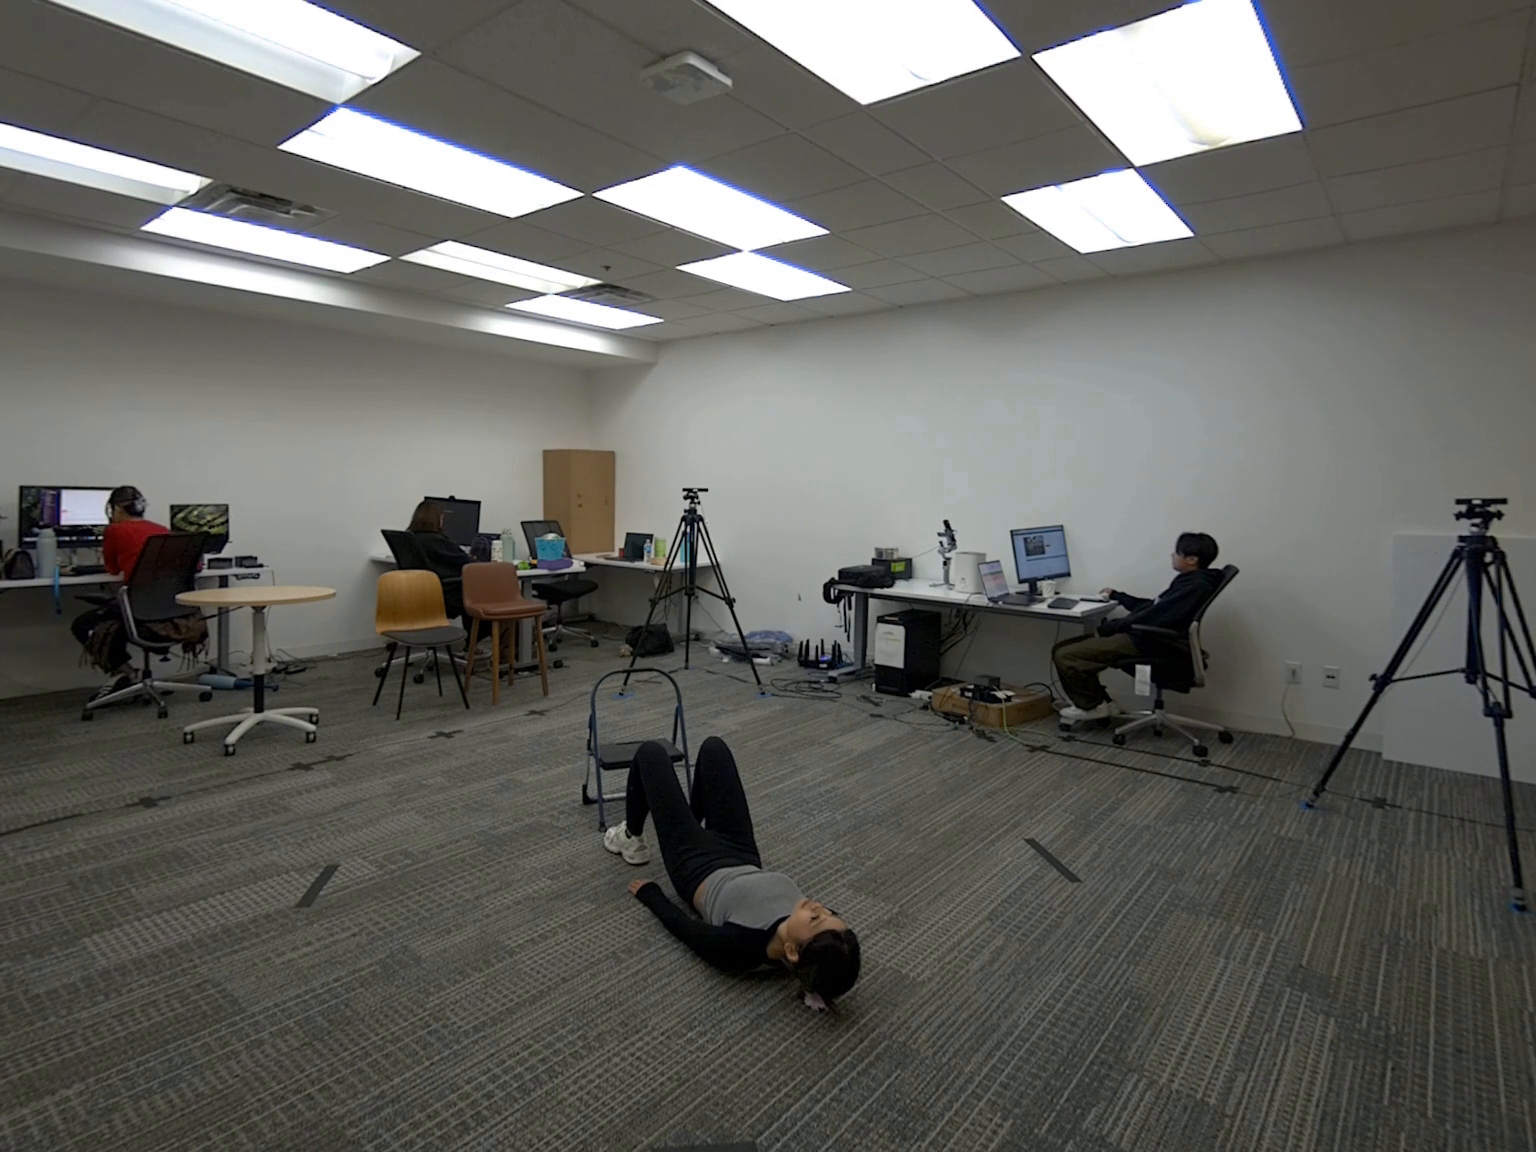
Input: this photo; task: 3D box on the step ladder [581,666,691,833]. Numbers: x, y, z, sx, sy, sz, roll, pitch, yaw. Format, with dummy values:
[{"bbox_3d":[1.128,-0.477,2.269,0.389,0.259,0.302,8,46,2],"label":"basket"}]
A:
[{"bbox_3d":[-0.570,0.710,3.654,0.420,0.604,0.359,-1,4,-25],"label":"step ladder"}]
